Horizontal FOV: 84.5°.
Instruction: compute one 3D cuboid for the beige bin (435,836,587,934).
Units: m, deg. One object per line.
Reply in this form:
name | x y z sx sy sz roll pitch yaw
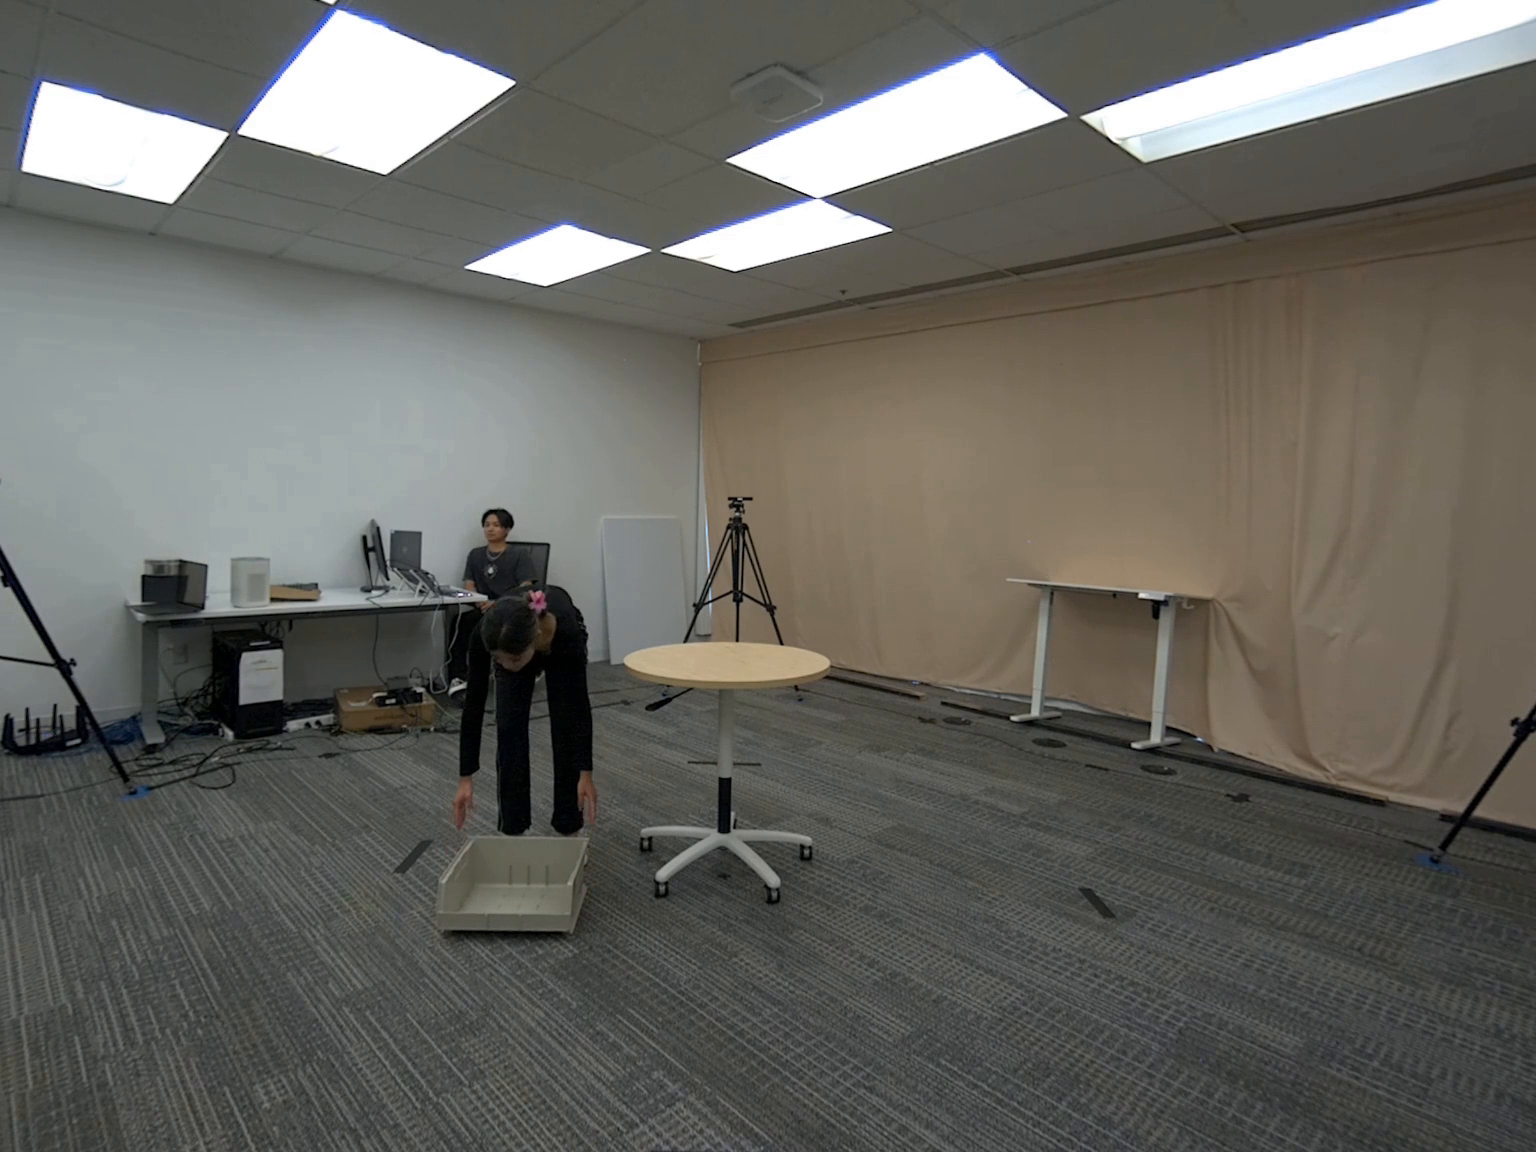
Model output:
beige bin | -0.839 1.035 2.789 0.422 0.188 0.379 1 4 -3
